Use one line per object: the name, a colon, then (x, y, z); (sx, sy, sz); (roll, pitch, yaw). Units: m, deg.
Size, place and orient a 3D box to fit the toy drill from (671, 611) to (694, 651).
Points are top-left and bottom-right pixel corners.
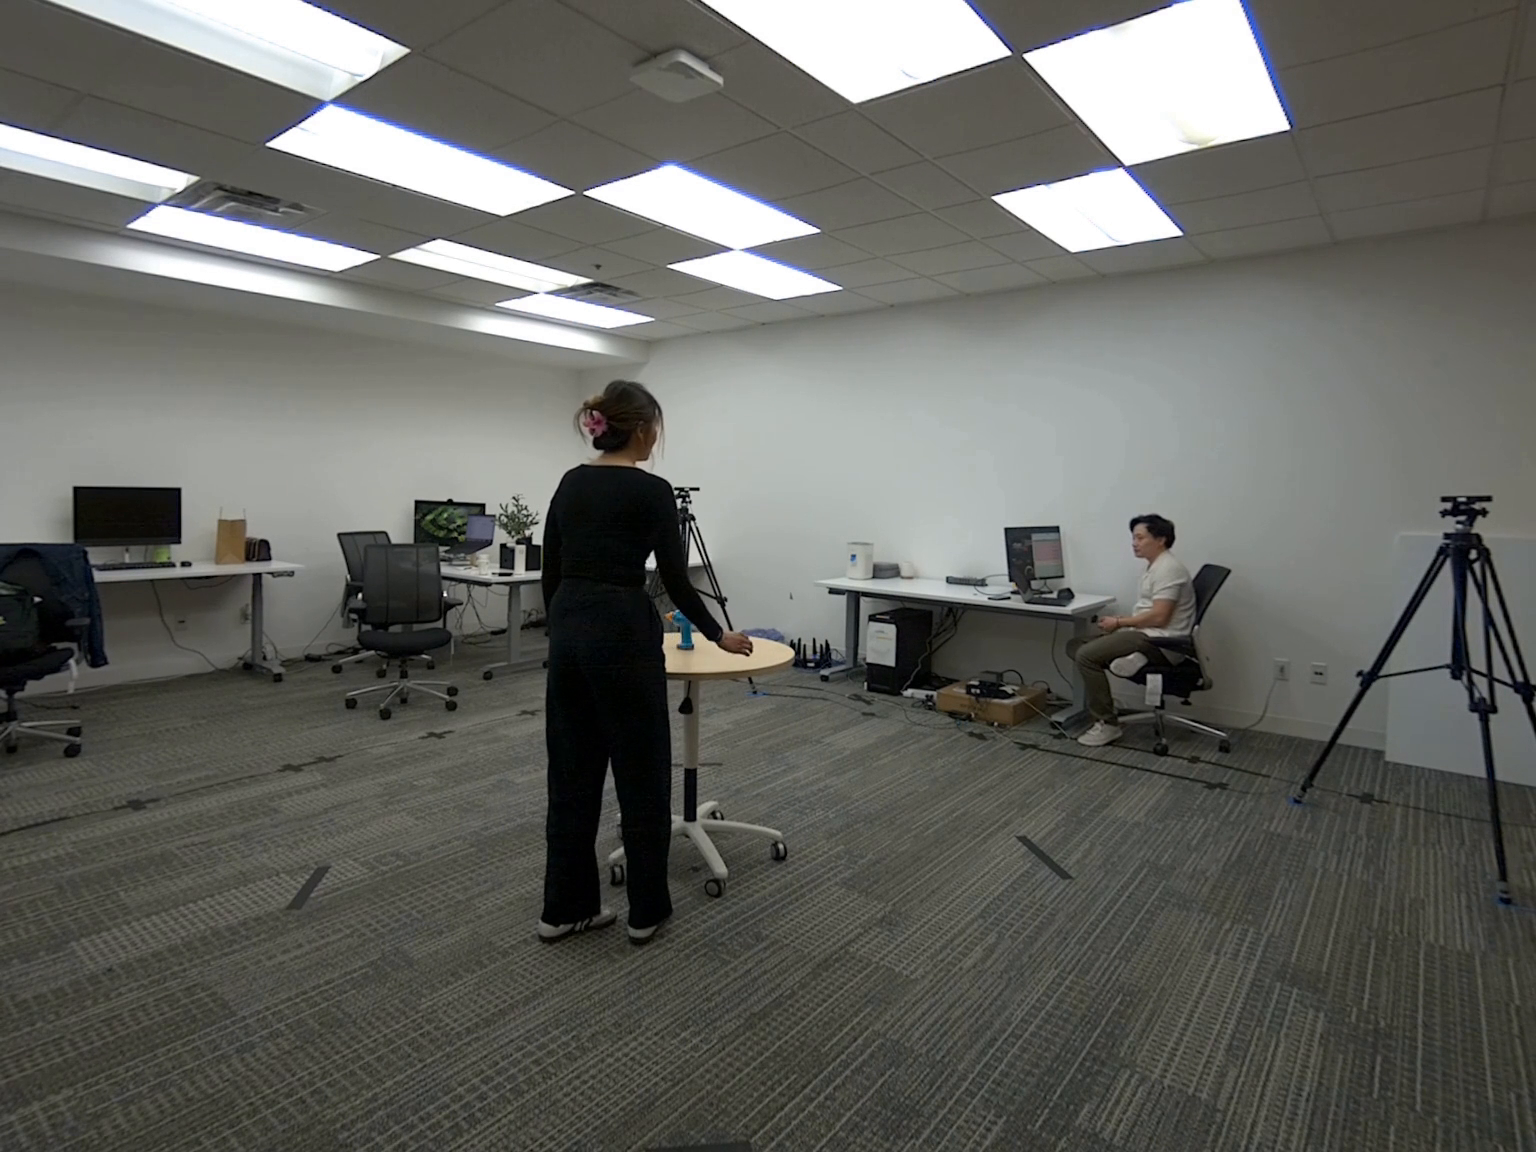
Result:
toy drill: (-0.351, 0.194, 3.224); (0.059, 0.145, 0.176); (-6, 8, -44)
